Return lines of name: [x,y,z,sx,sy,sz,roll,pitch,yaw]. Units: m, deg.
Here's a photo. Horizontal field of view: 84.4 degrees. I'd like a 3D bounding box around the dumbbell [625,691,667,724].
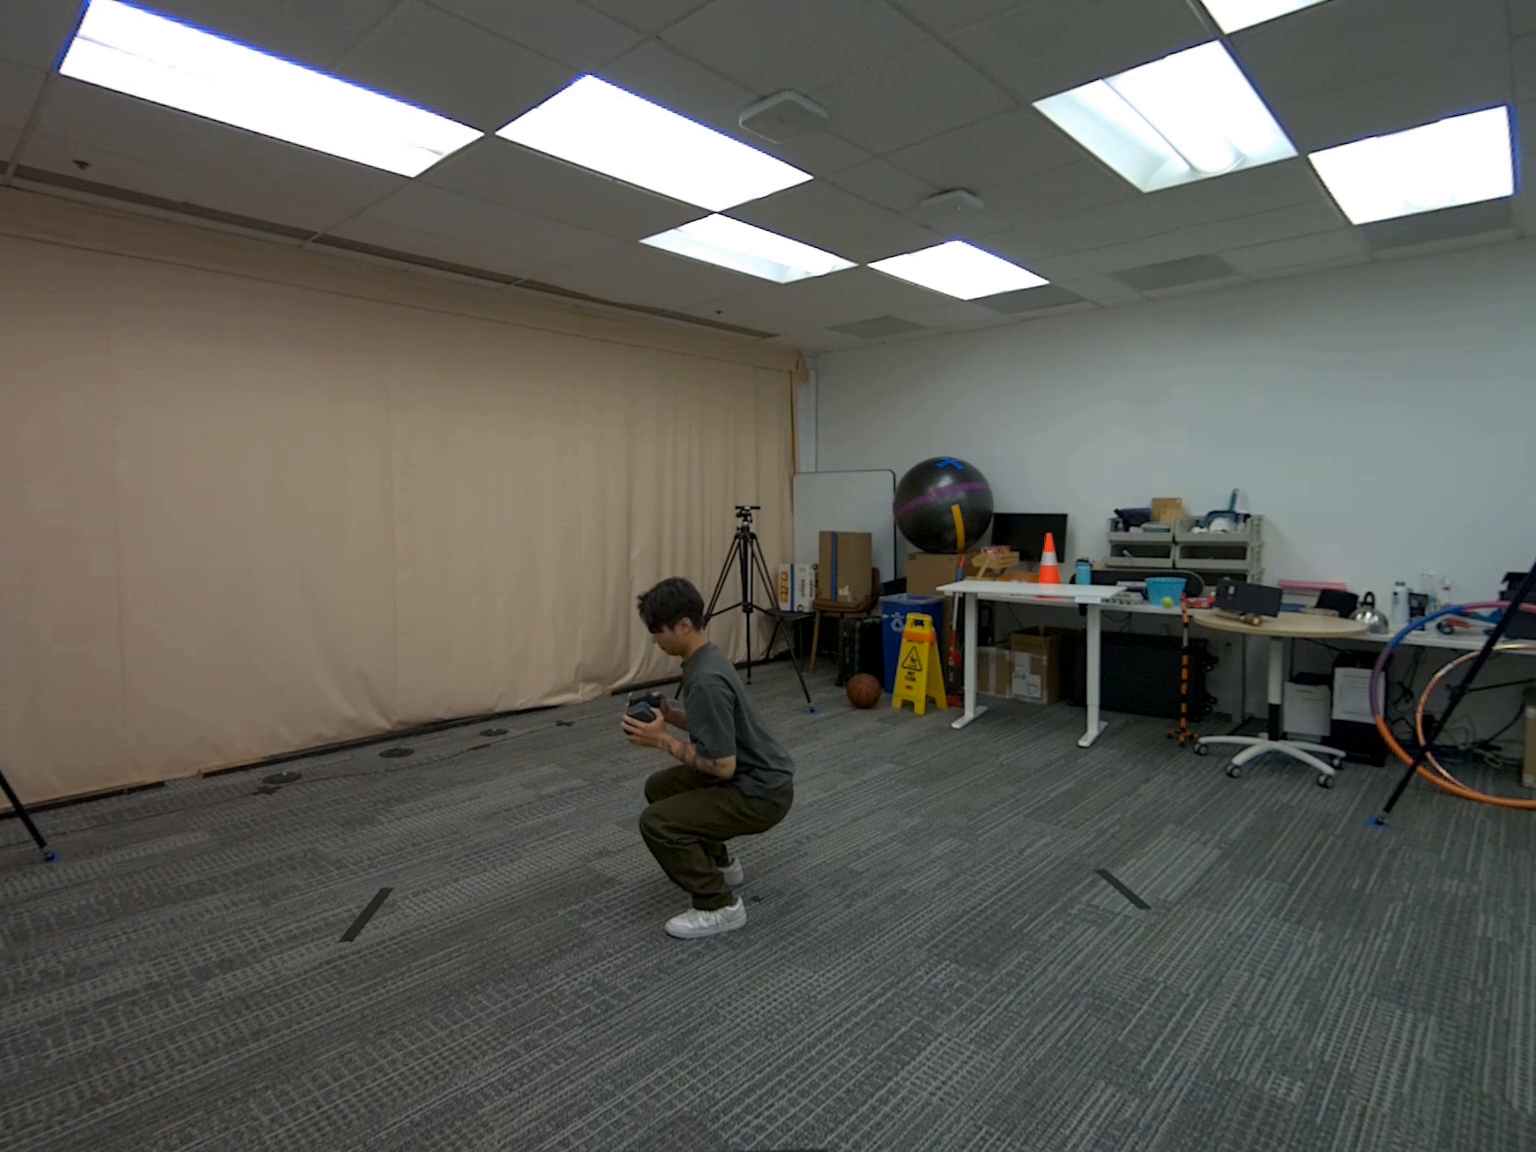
dumbbell: [-0.425,0.477,2.925,0.122,0.109,0.296,41,-1,-7]
